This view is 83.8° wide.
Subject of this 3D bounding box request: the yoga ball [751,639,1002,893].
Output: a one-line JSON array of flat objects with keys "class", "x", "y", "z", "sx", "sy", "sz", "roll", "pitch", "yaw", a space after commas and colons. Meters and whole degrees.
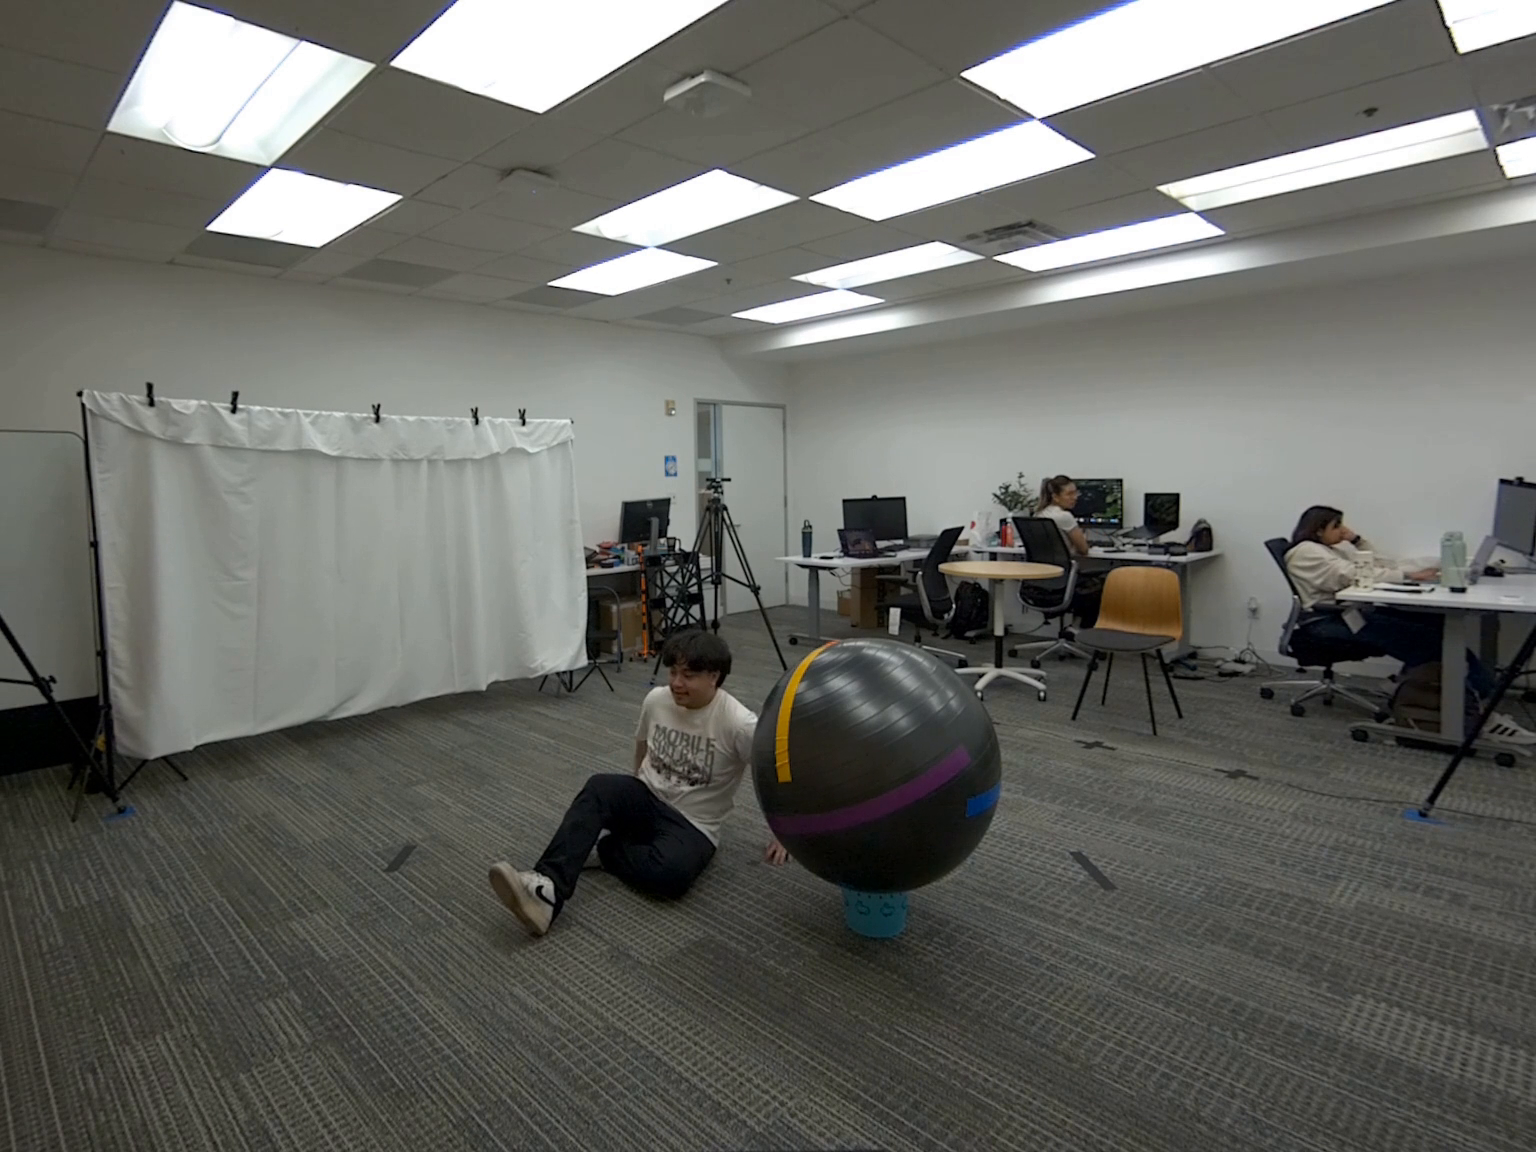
[{"class": "yoga ball", "x": 0.333, "y": 0.578, "z": 2.633, "sx": 0.757, "sy": 0.755, "sz": 0.762, "roll": -1, "pitch": 5, "yaw": -2}]
